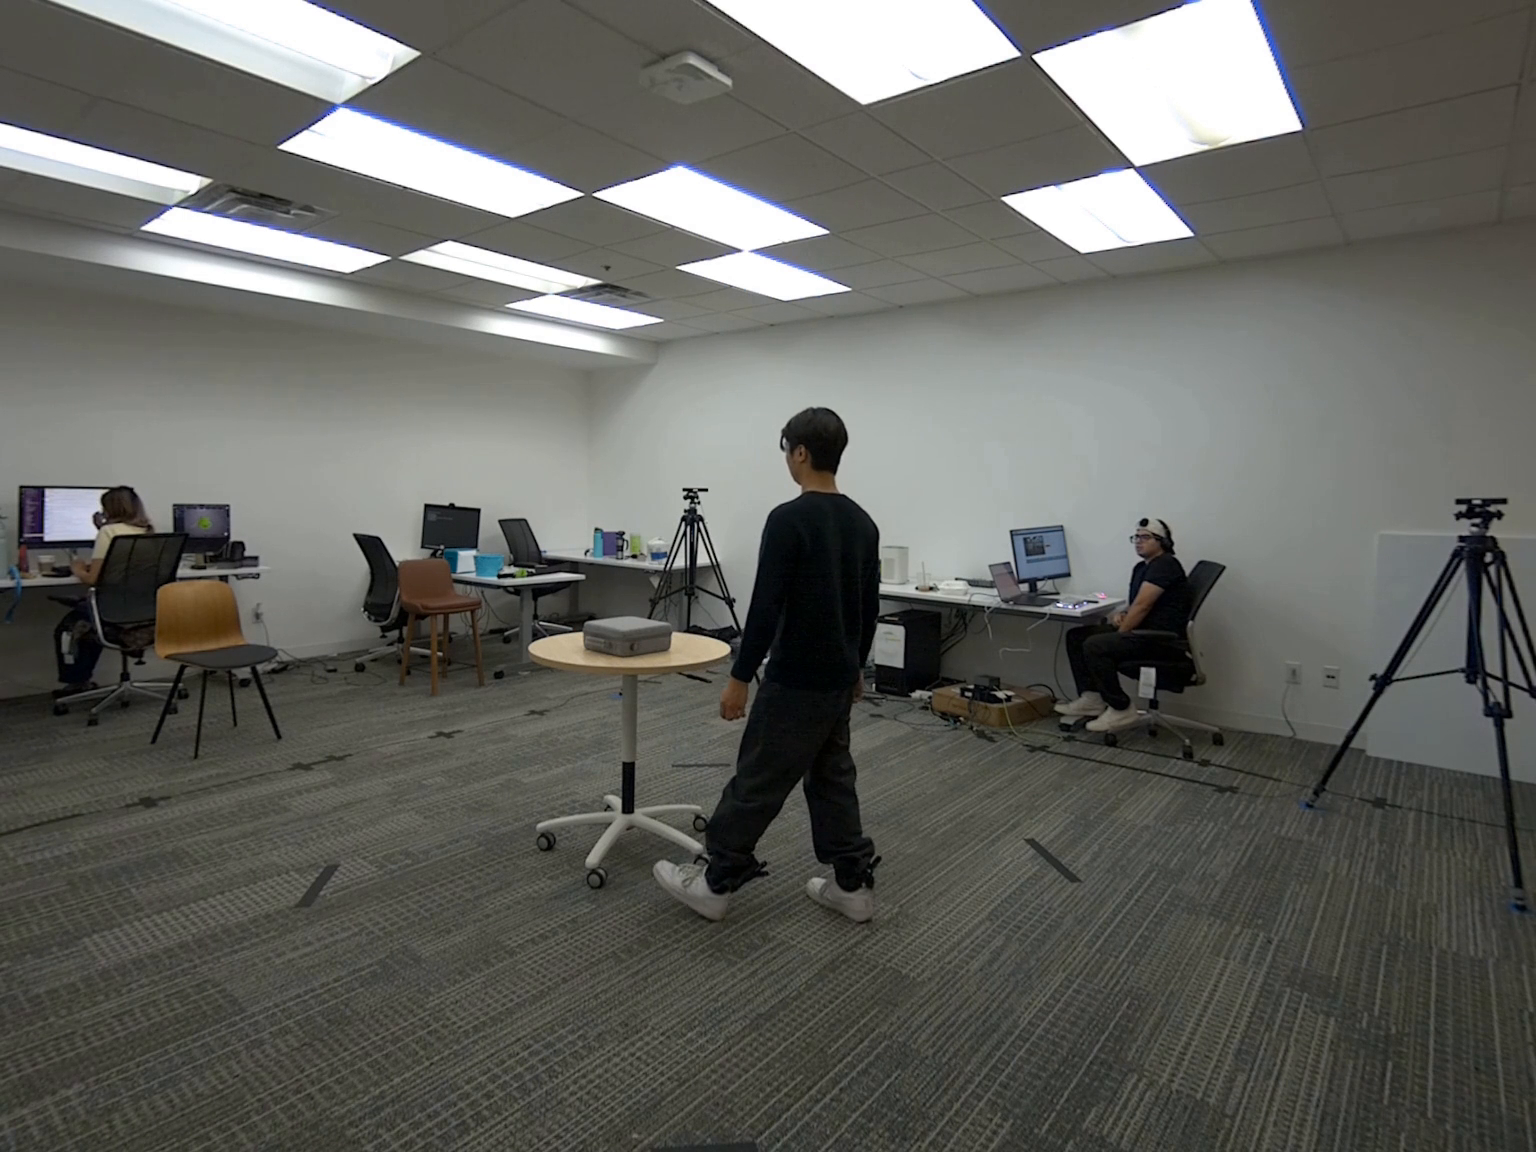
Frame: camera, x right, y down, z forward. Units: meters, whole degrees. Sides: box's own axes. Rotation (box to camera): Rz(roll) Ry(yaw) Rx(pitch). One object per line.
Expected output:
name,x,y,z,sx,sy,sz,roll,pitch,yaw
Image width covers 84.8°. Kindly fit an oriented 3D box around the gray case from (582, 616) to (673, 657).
gray case,-0.537,0.220,3.175,0.266,0.104,0.253,6,8,42
